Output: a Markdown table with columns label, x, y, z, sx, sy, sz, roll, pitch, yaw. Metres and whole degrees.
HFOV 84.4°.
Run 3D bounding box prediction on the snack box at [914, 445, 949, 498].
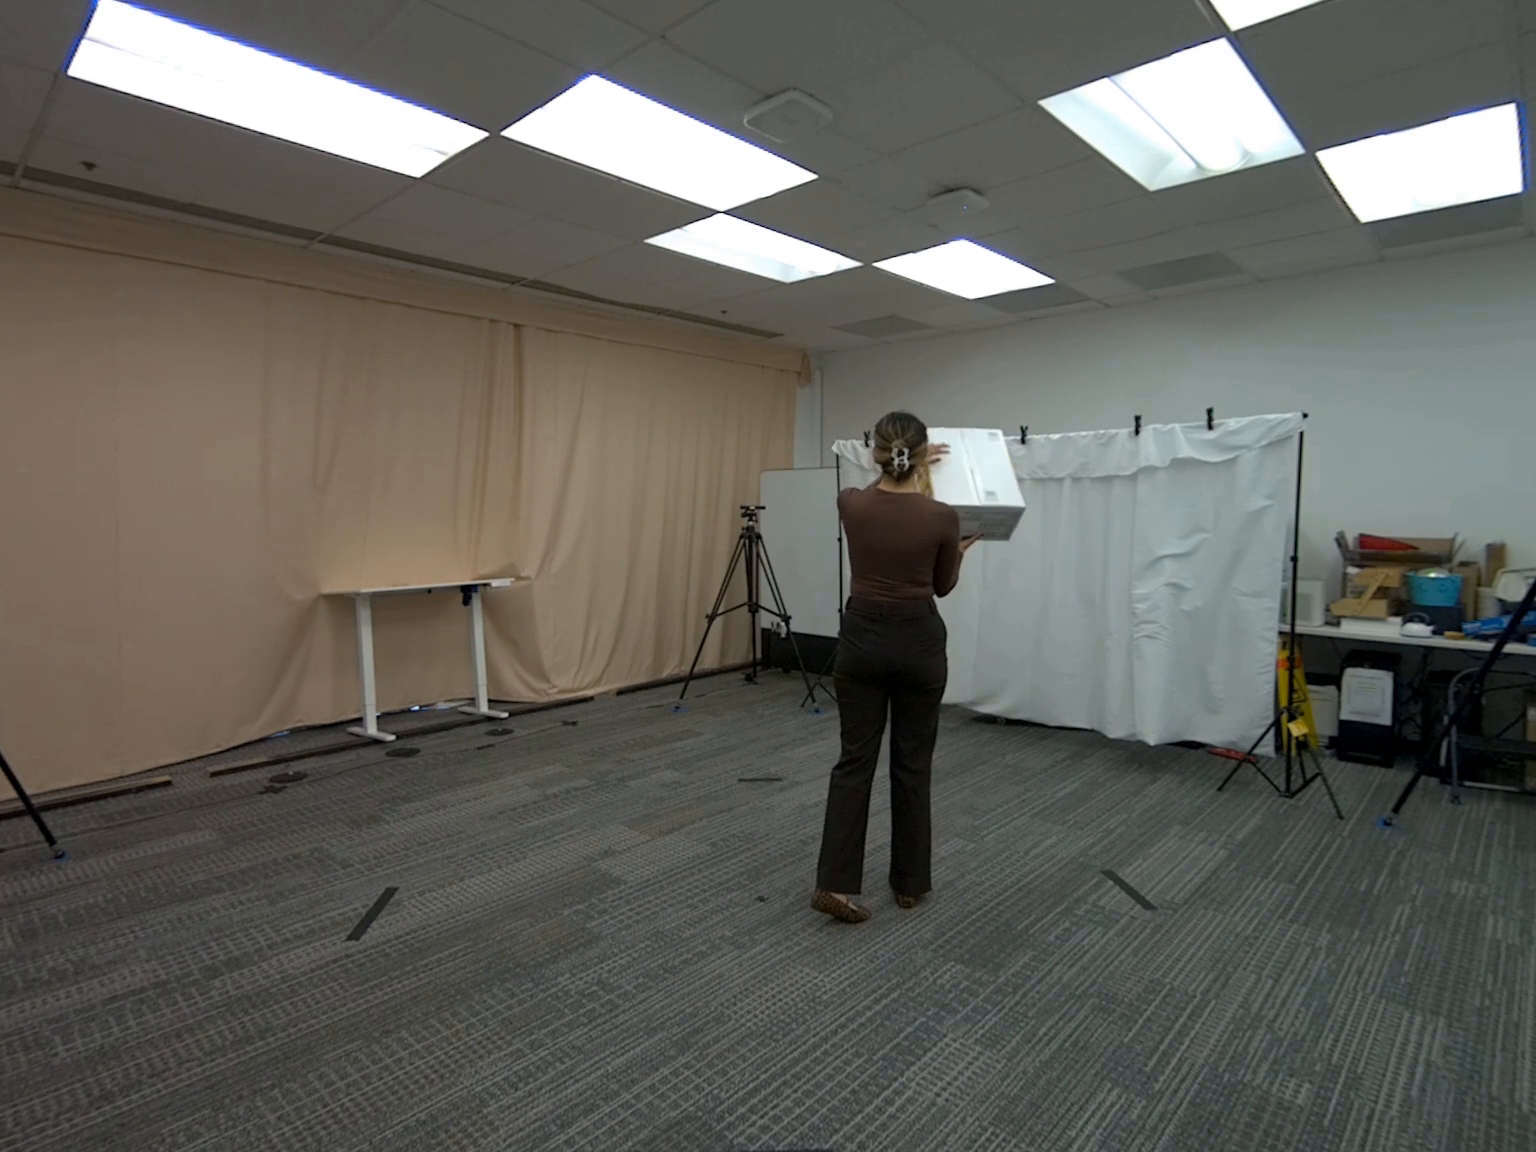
| label | x | y | z | sx | sy | sz | roll | pitch | yaw |
| --- | --- | --- | --- | --- | --- | --- | --- | --- | --- |
| snack box | 0.760 | -0.359 | 3.246 | 0.339 | 0.413 | 0.202 | -2 | -37 | -5 |
